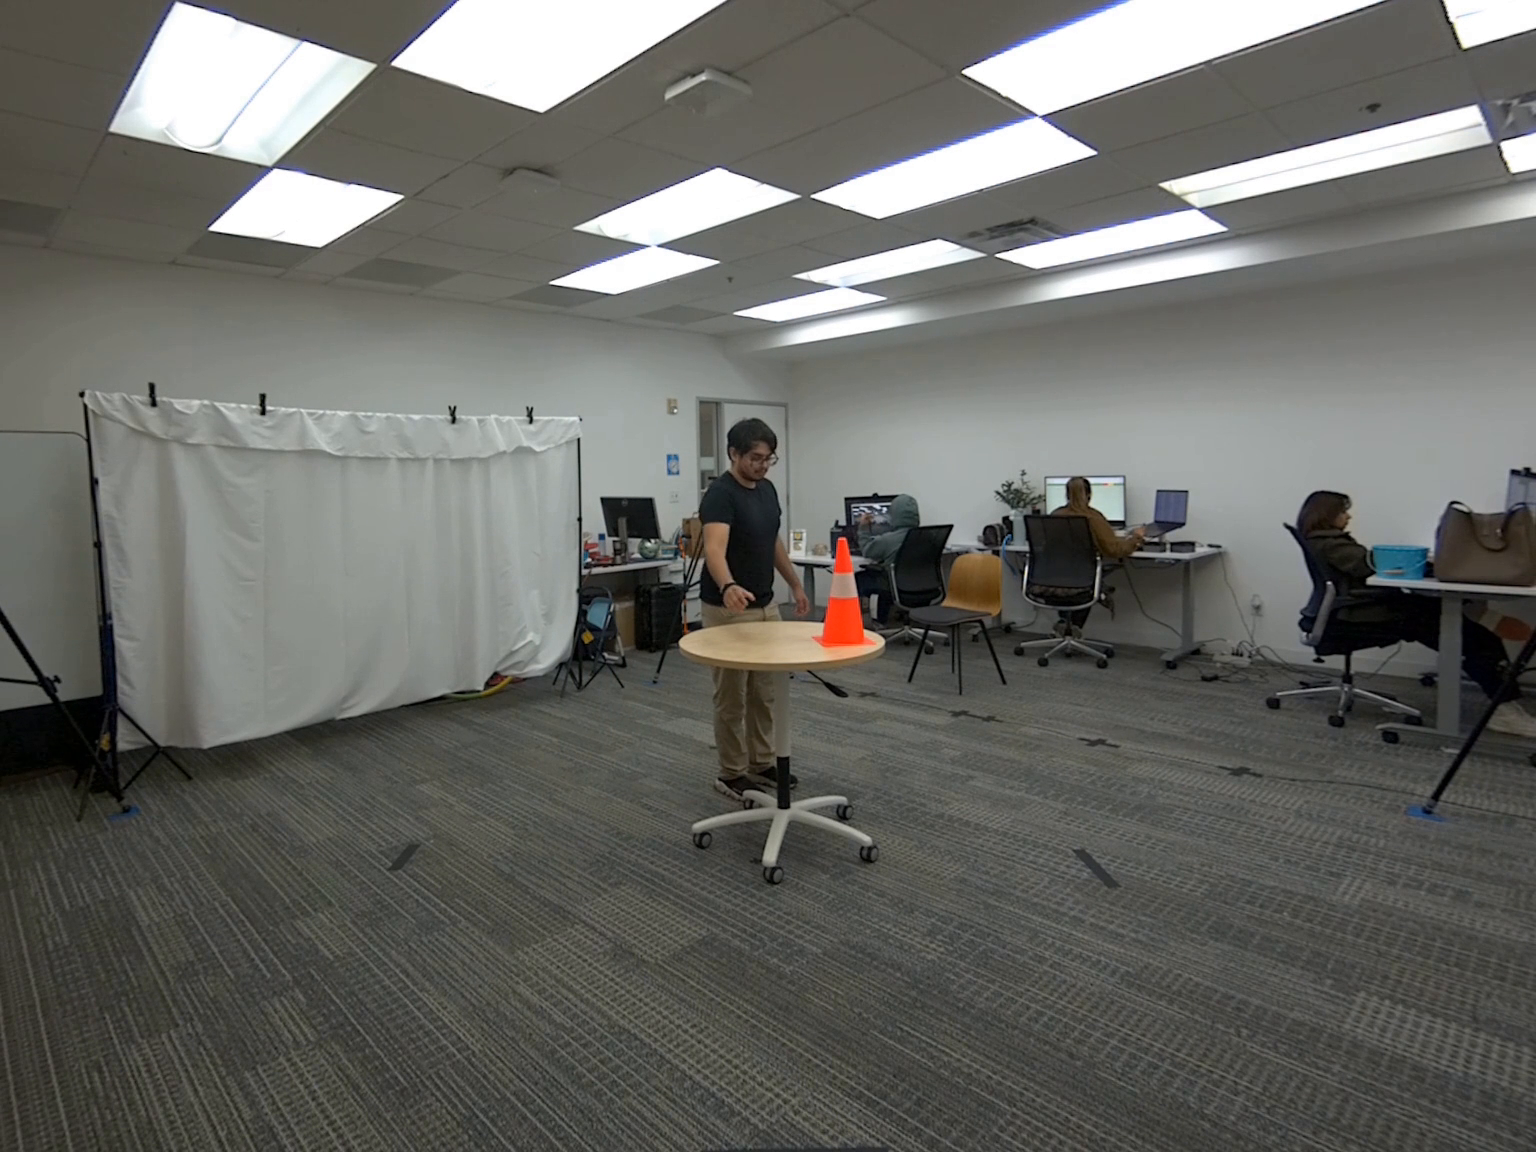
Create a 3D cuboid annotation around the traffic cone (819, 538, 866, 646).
[{"bbox_3d":[0.276,0.055,3.155,0.202,0.382,0.207,-2,5,-16],"label":"traffic cone"}]
